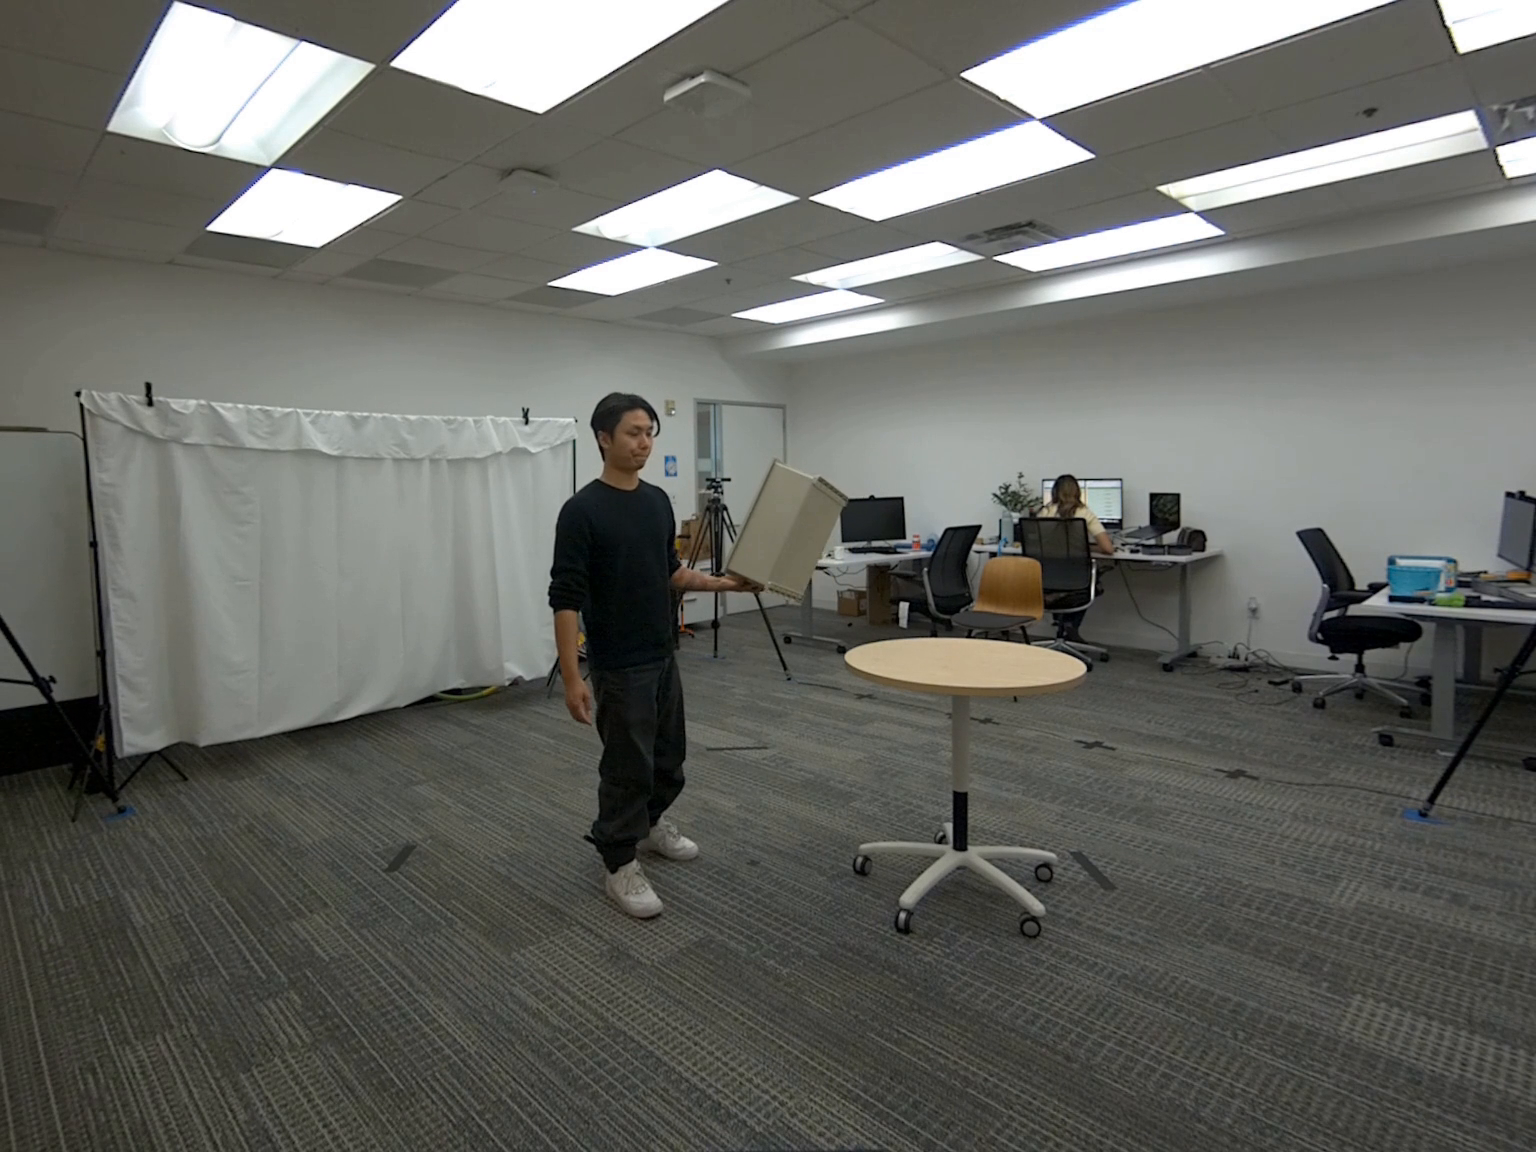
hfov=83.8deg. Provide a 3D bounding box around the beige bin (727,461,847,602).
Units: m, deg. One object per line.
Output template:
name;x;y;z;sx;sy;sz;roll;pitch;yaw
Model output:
beige bin;0.079;-0.145;2.950;0.195;0.422;0.366;24;1;26
